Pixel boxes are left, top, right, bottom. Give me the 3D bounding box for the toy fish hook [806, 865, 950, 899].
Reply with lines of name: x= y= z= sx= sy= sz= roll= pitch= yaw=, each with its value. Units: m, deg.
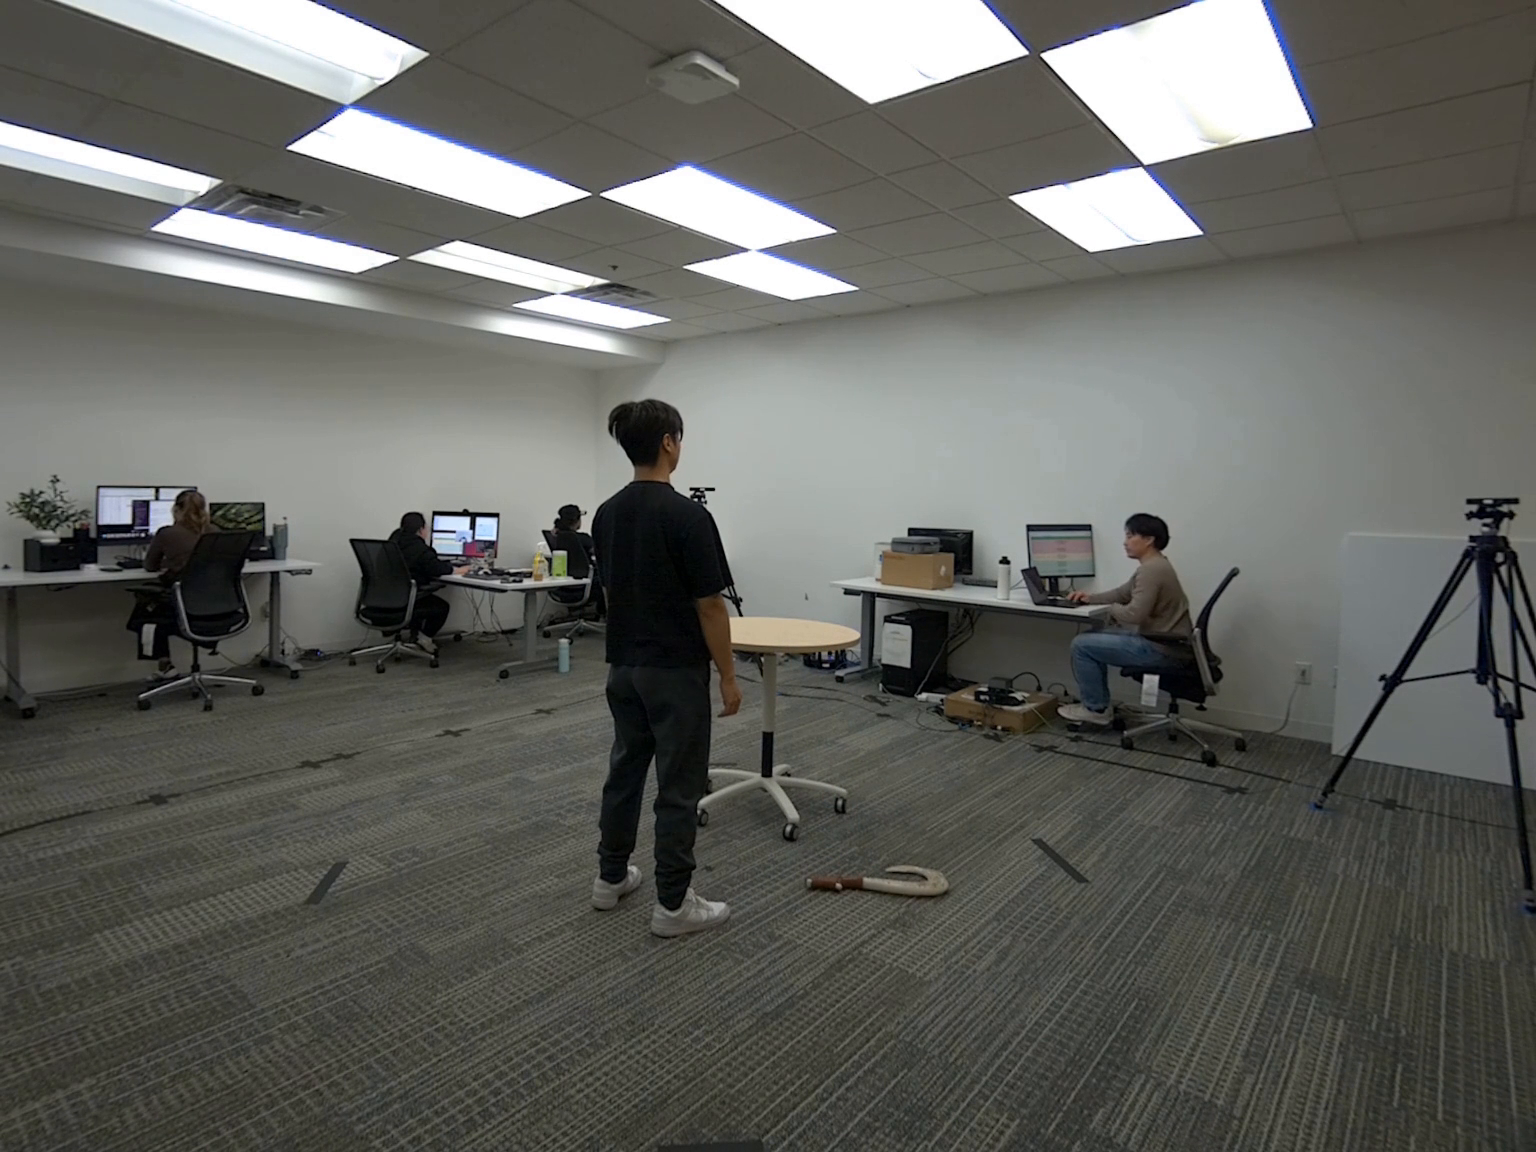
toy fish hook: x=0.376 y=1.077 z=3.019 sx=0.506 sy=0.048 sz=0.224 roll=2 pitch=-2 yaw=-1
